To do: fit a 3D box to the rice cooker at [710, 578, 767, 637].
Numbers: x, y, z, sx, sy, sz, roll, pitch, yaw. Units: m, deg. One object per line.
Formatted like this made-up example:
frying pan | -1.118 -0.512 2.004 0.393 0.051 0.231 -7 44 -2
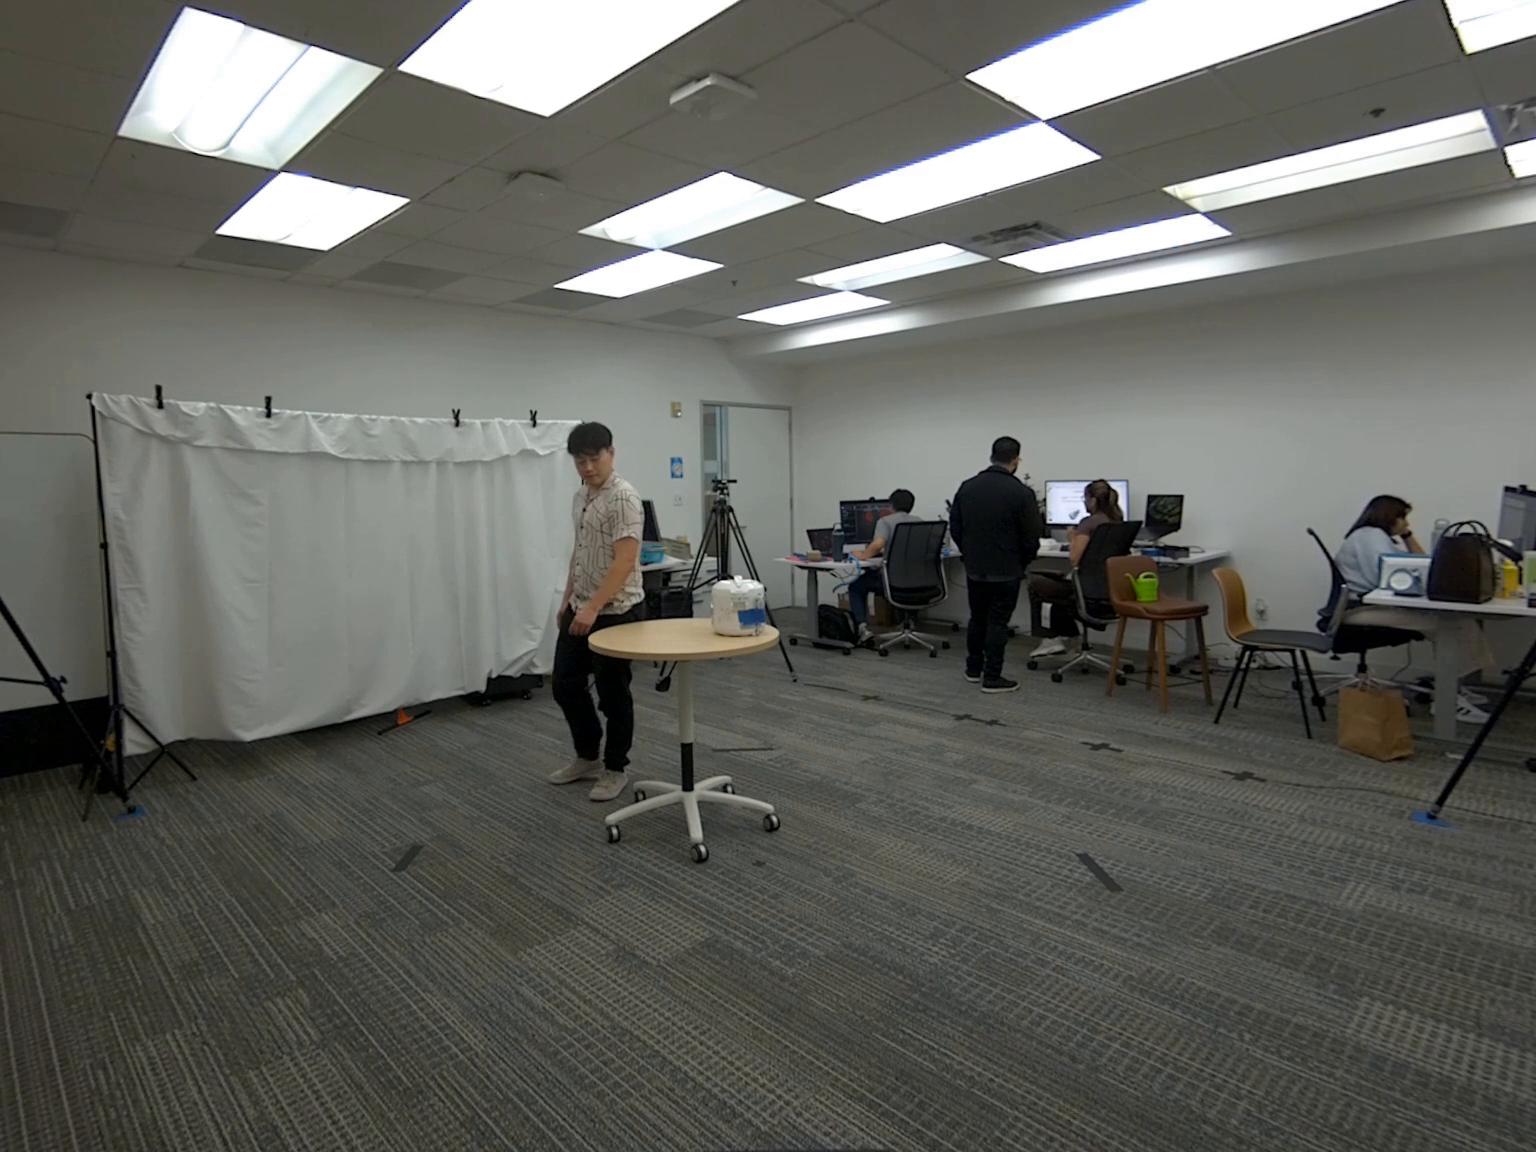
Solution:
rice cooker | -0.122 0.111 3.425 0.217 0.232 0.222 -1 5 -2
